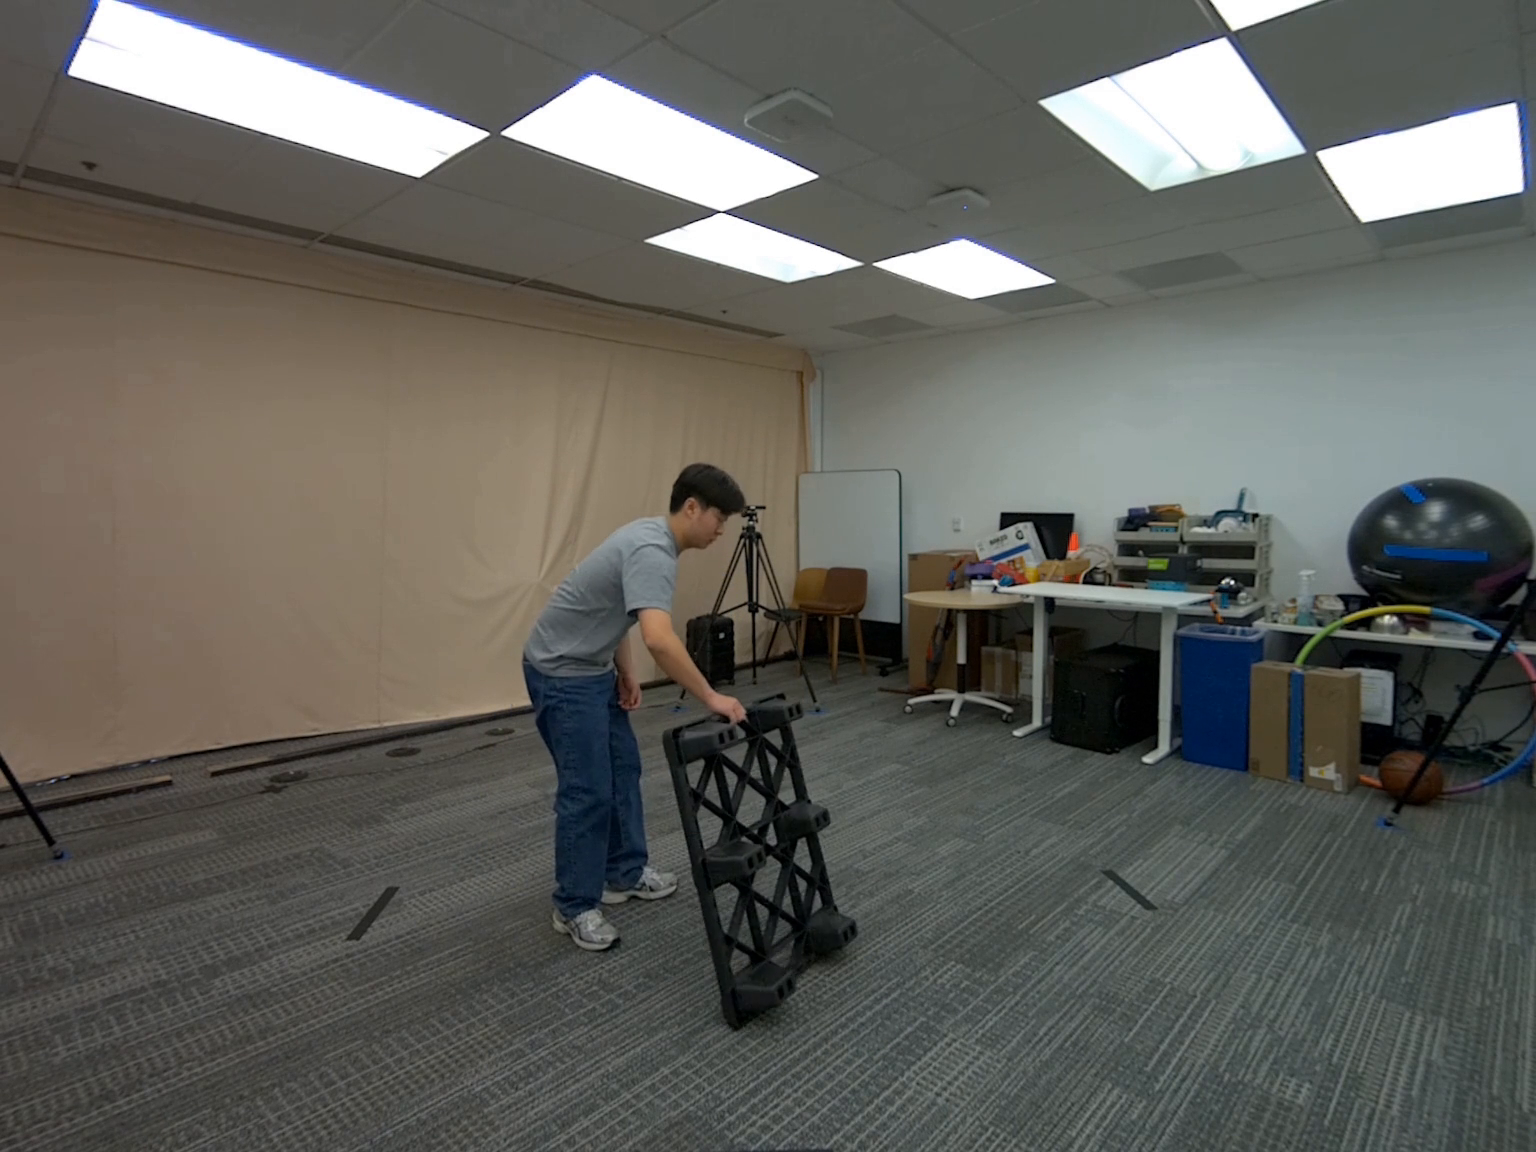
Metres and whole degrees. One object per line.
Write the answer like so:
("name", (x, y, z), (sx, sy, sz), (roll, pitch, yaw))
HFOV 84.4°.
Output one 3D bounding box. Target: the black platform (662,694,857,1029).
("black platform", (0.017, 0.794, 2.483), (0.146, 0.811, 0.588), (-20, -8, 34))
